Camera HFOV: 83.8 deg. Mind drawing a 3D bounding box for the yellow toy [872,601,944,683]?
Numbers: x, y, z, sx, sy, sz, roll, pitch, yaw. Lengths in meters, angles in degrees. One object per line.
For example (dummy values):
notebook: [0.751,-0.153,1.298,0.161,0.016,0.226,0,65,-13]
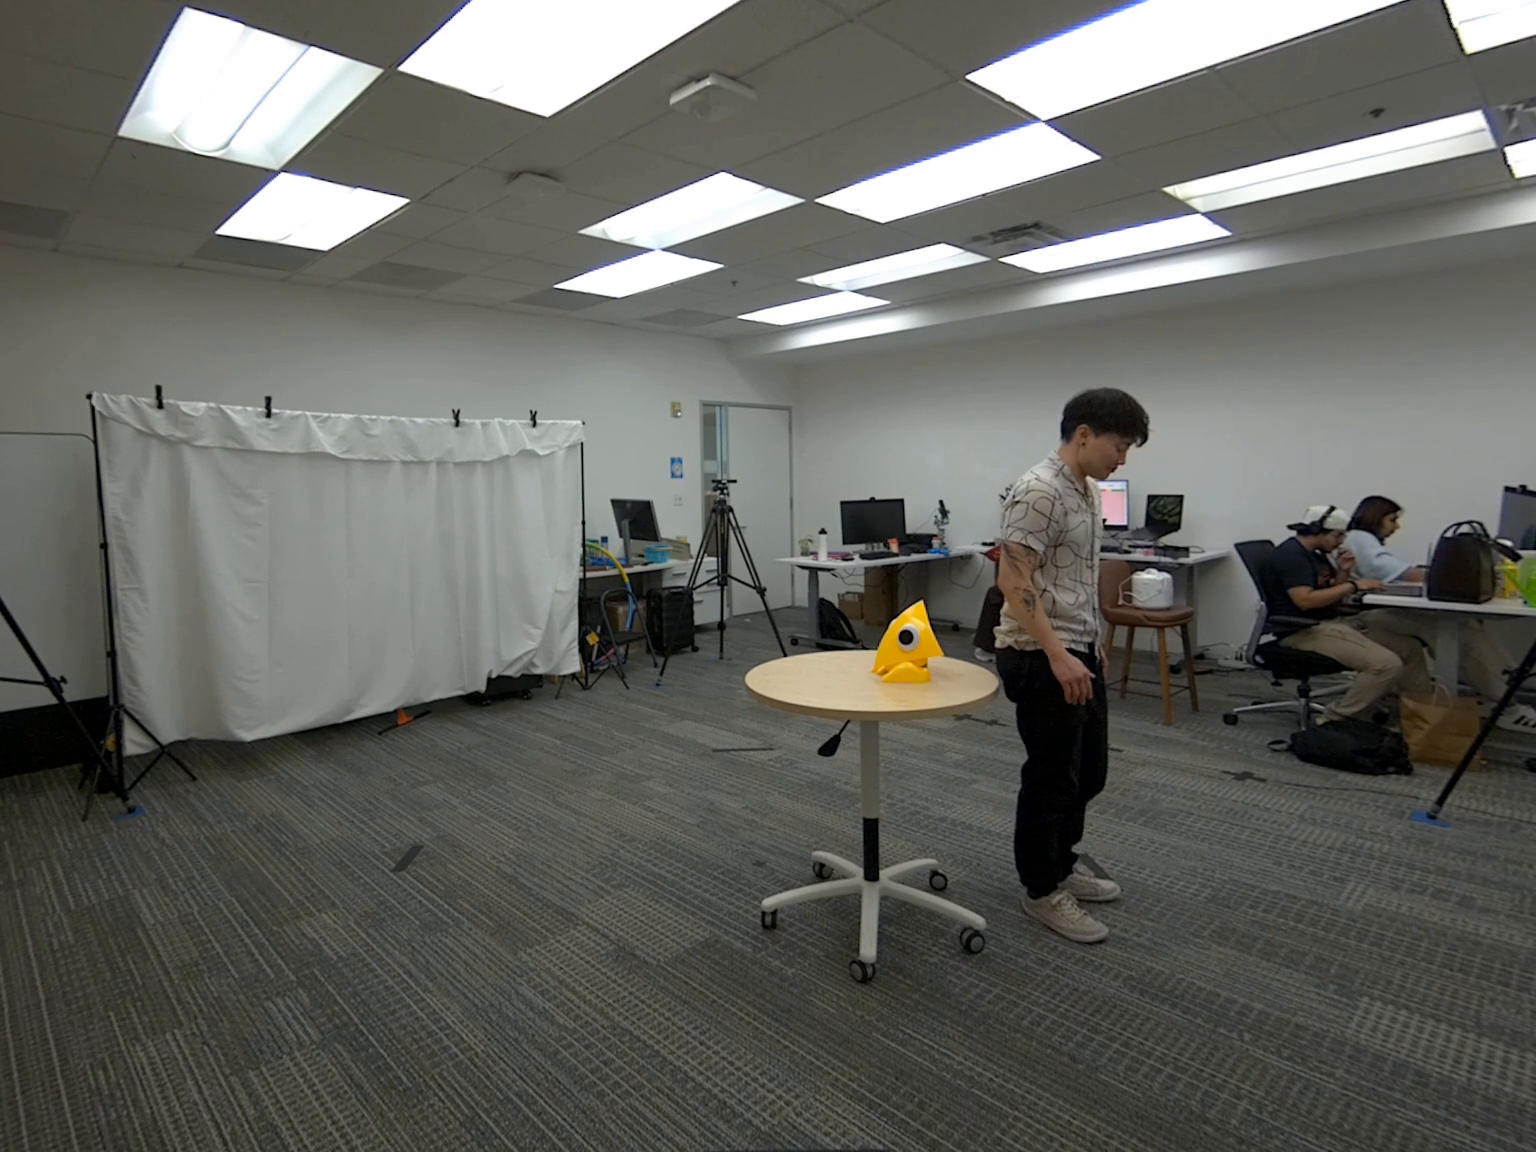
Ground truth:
yellow toy: [0.429,0.194,2.634,0.192,0.230,0.207,-3,5,-7]
